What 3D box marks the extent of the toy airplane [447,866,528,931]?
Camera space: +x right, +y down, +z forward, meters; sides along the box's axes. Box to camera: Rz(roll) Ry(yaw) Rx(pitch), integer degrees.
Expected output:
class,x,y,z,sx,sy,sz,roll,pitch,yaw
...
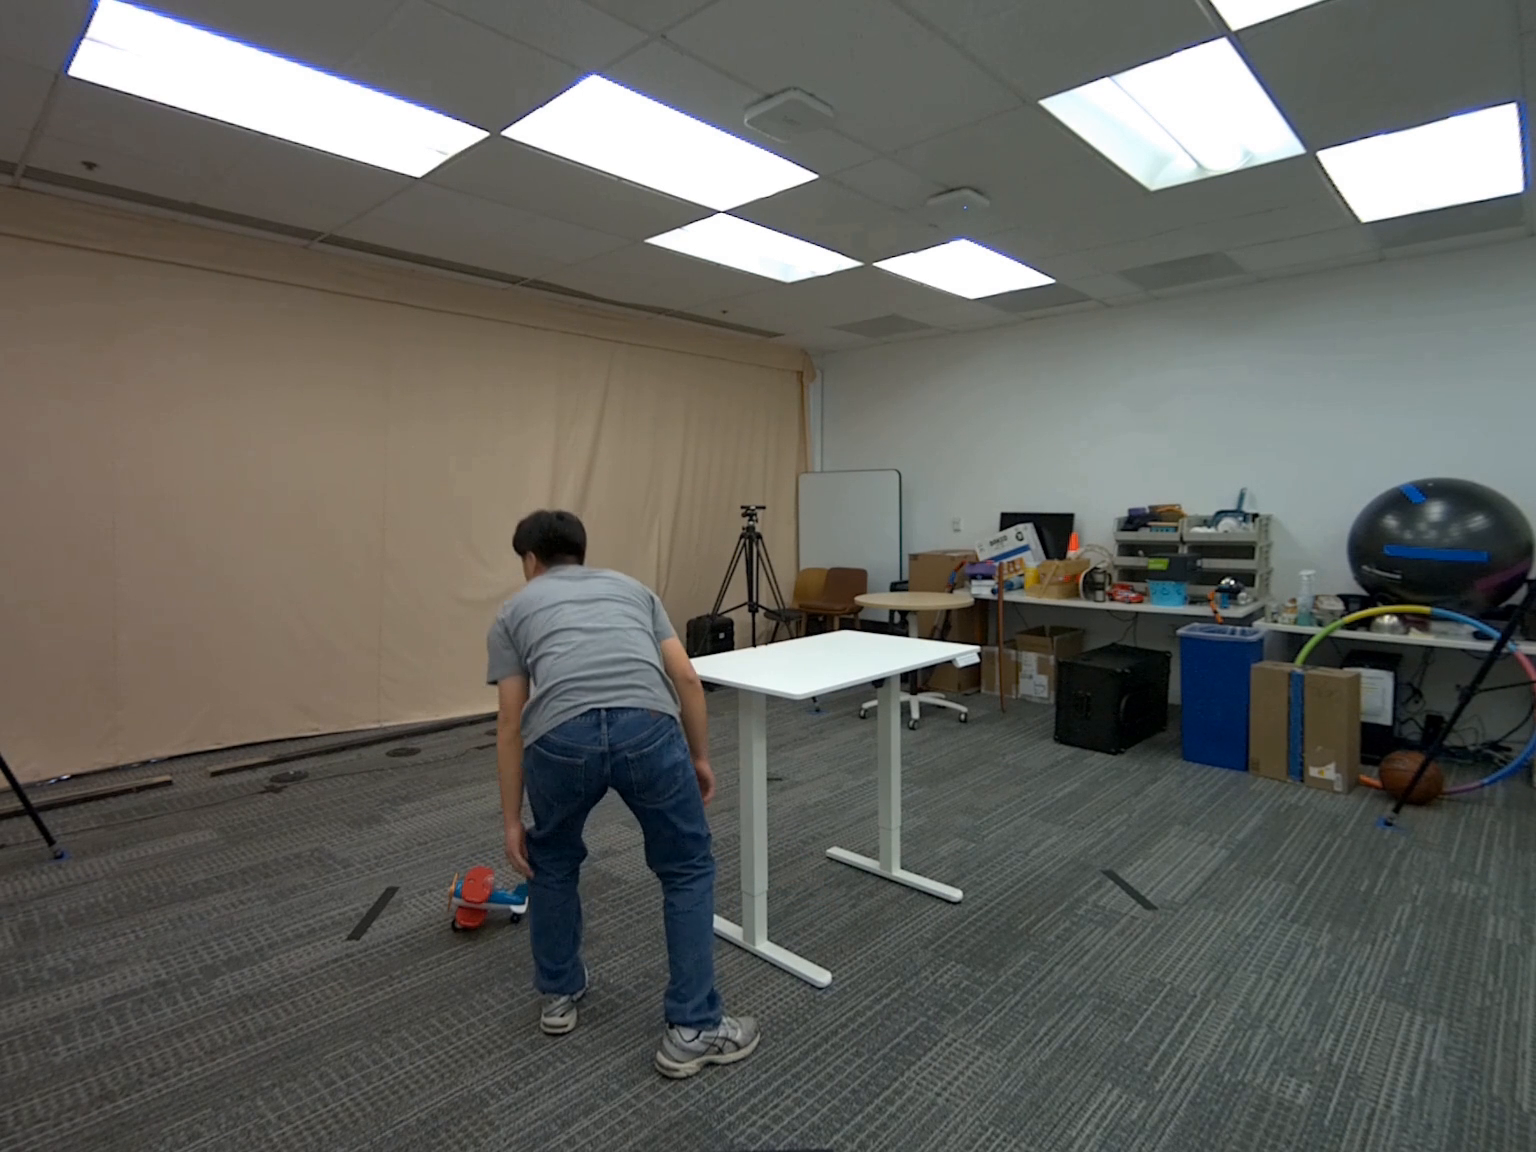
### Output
class,x,y,z,sx,sy,sz,roll,pitch,yaw
toy airplane,-0.947,1.087,2.832,0.252,0.156,0.259,-5,6,-37
